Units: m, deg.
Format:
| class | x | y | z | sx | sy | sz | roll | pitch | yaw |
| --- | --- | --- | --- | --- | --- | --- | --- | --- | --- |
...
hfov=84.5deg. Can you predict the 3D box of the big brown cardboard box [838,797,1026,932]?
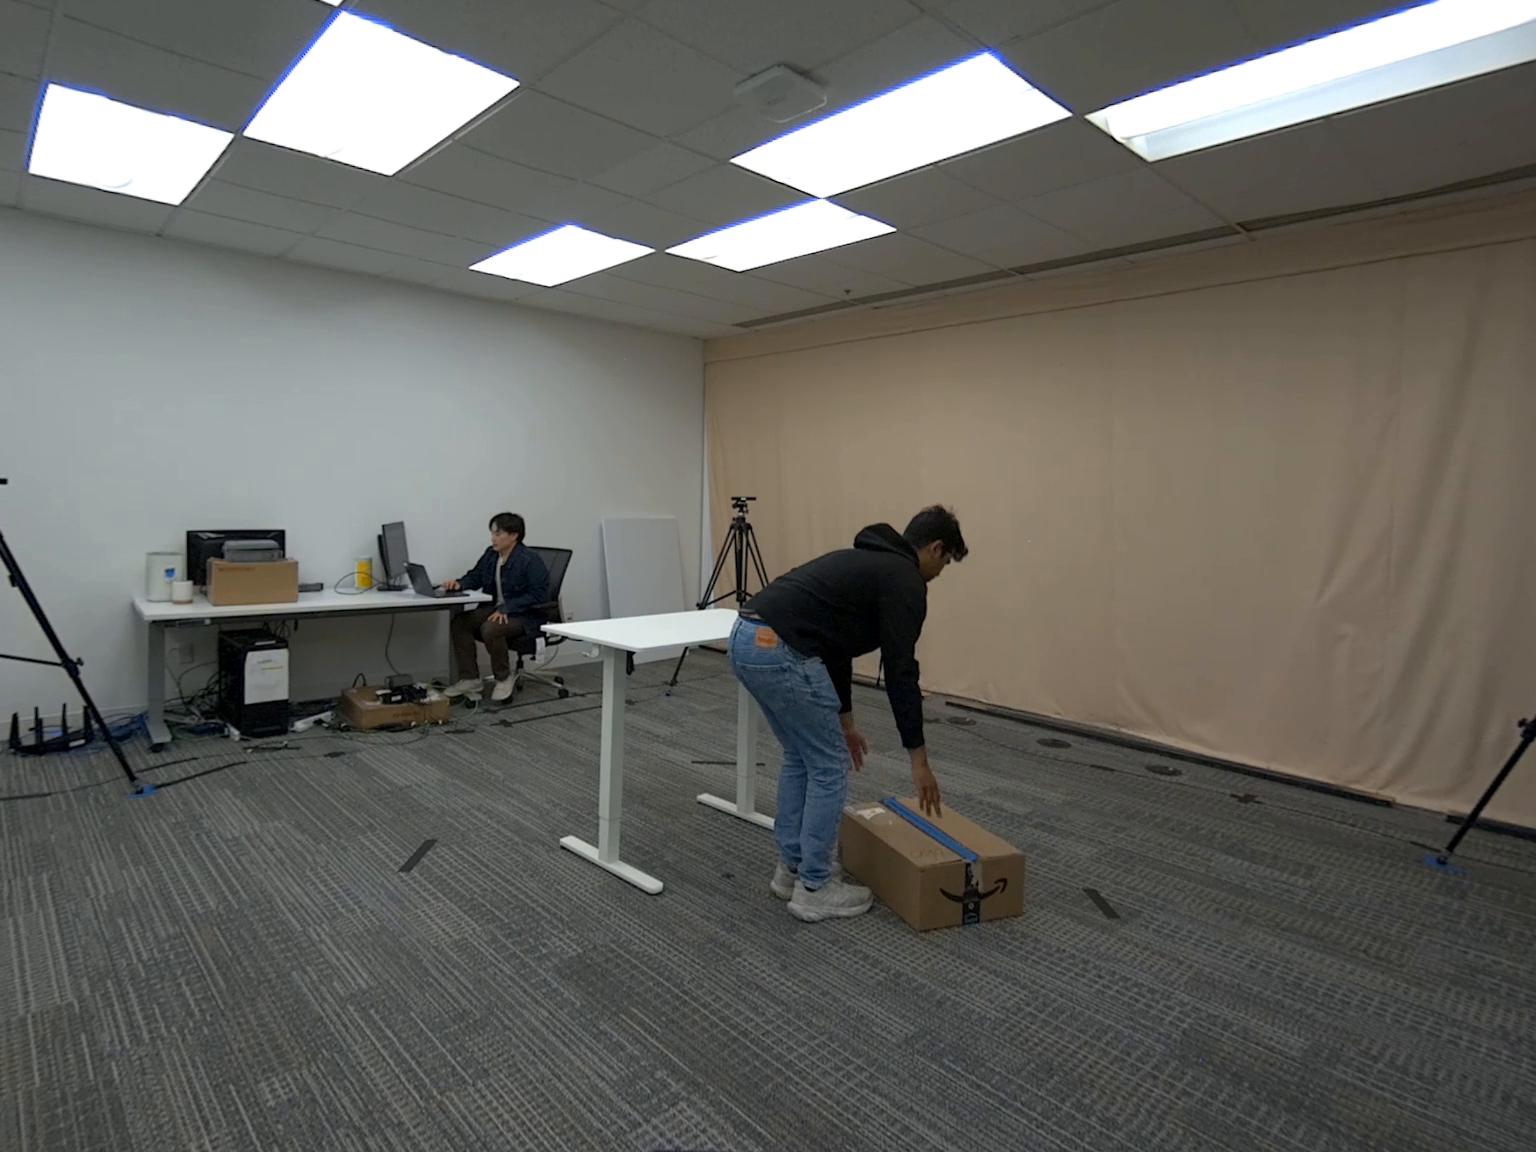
| class | x | y | z | sx | sy | sz | roll | pitch | yaw |
| --- | --- | --- | --- | --- | --- | --- | --- | --- | --- |
| big brown cardboard box | 0.557 | 1.018 | 3.054 | 0.411 | 0.232 | 0.601 | 0 | 6 | -22 |
